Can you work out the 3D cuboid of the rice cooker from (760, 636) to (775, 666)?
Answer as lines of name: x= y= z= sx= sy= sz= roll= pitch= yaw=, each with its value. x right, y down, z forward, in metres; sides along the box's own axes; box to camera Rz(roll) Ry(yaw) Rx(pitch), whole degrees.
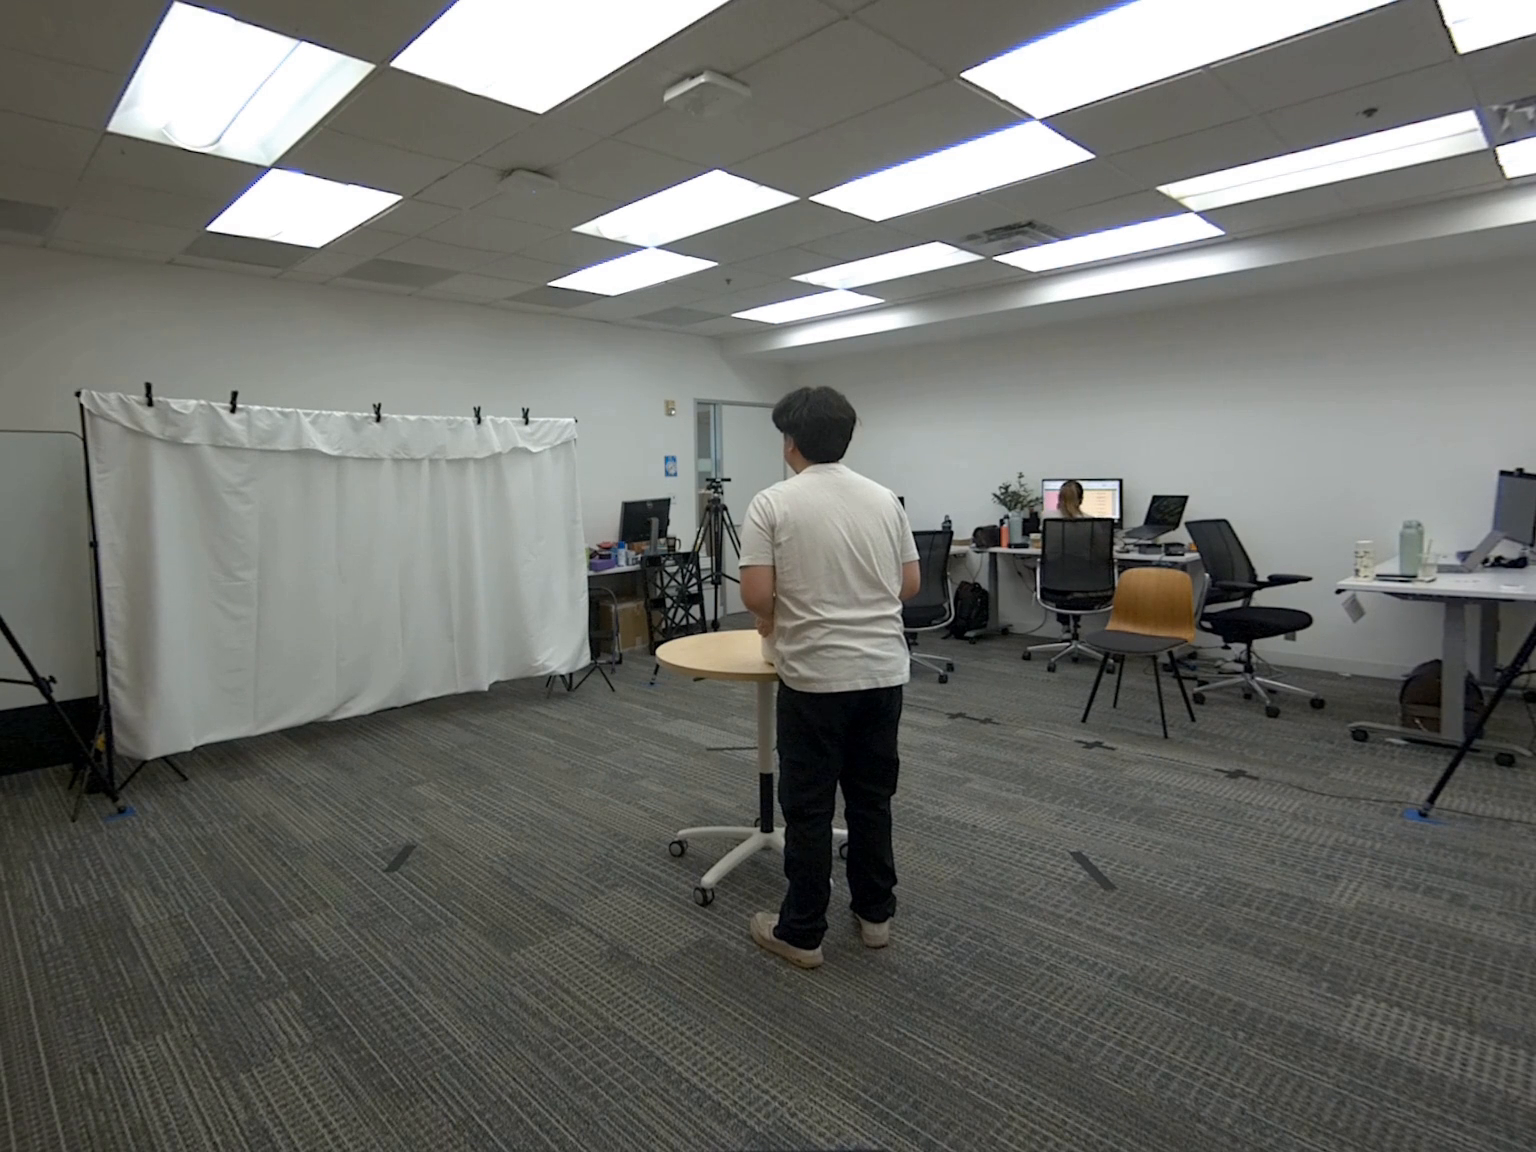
rice cooker: x=0.091 y=0.165 z=2.768 sx=0.216 sy=0.232 sz=0.222 roll=-4 pitch=5 yaw=-23
